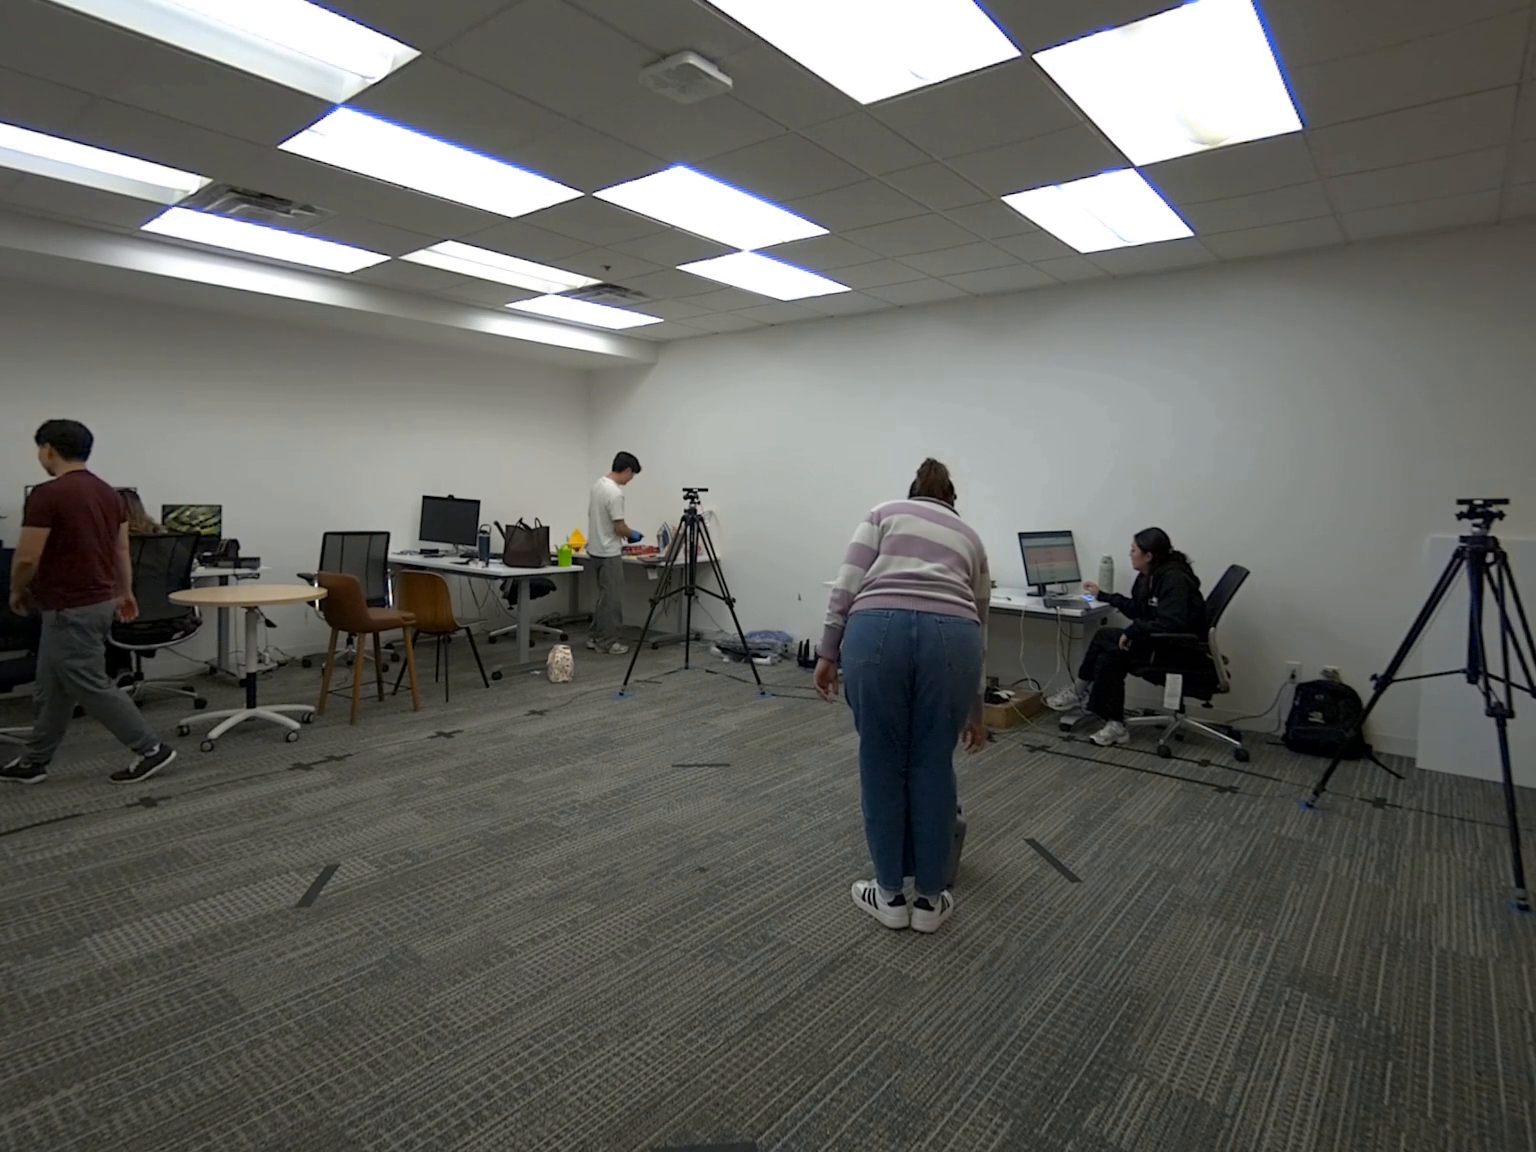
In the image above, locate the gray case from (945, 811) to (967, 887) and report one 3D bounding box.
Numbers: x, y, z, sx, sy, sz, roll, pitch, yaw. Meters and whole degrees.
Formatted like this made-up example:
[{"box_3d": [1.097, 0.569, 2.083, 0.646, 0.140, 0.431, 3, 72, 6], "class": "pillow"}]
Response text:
[{"box_3d": [0.646, 0.948, 3.127, 0.106, 0.259, 0.254, 9, 7, 12], "class": "gray case"}]
